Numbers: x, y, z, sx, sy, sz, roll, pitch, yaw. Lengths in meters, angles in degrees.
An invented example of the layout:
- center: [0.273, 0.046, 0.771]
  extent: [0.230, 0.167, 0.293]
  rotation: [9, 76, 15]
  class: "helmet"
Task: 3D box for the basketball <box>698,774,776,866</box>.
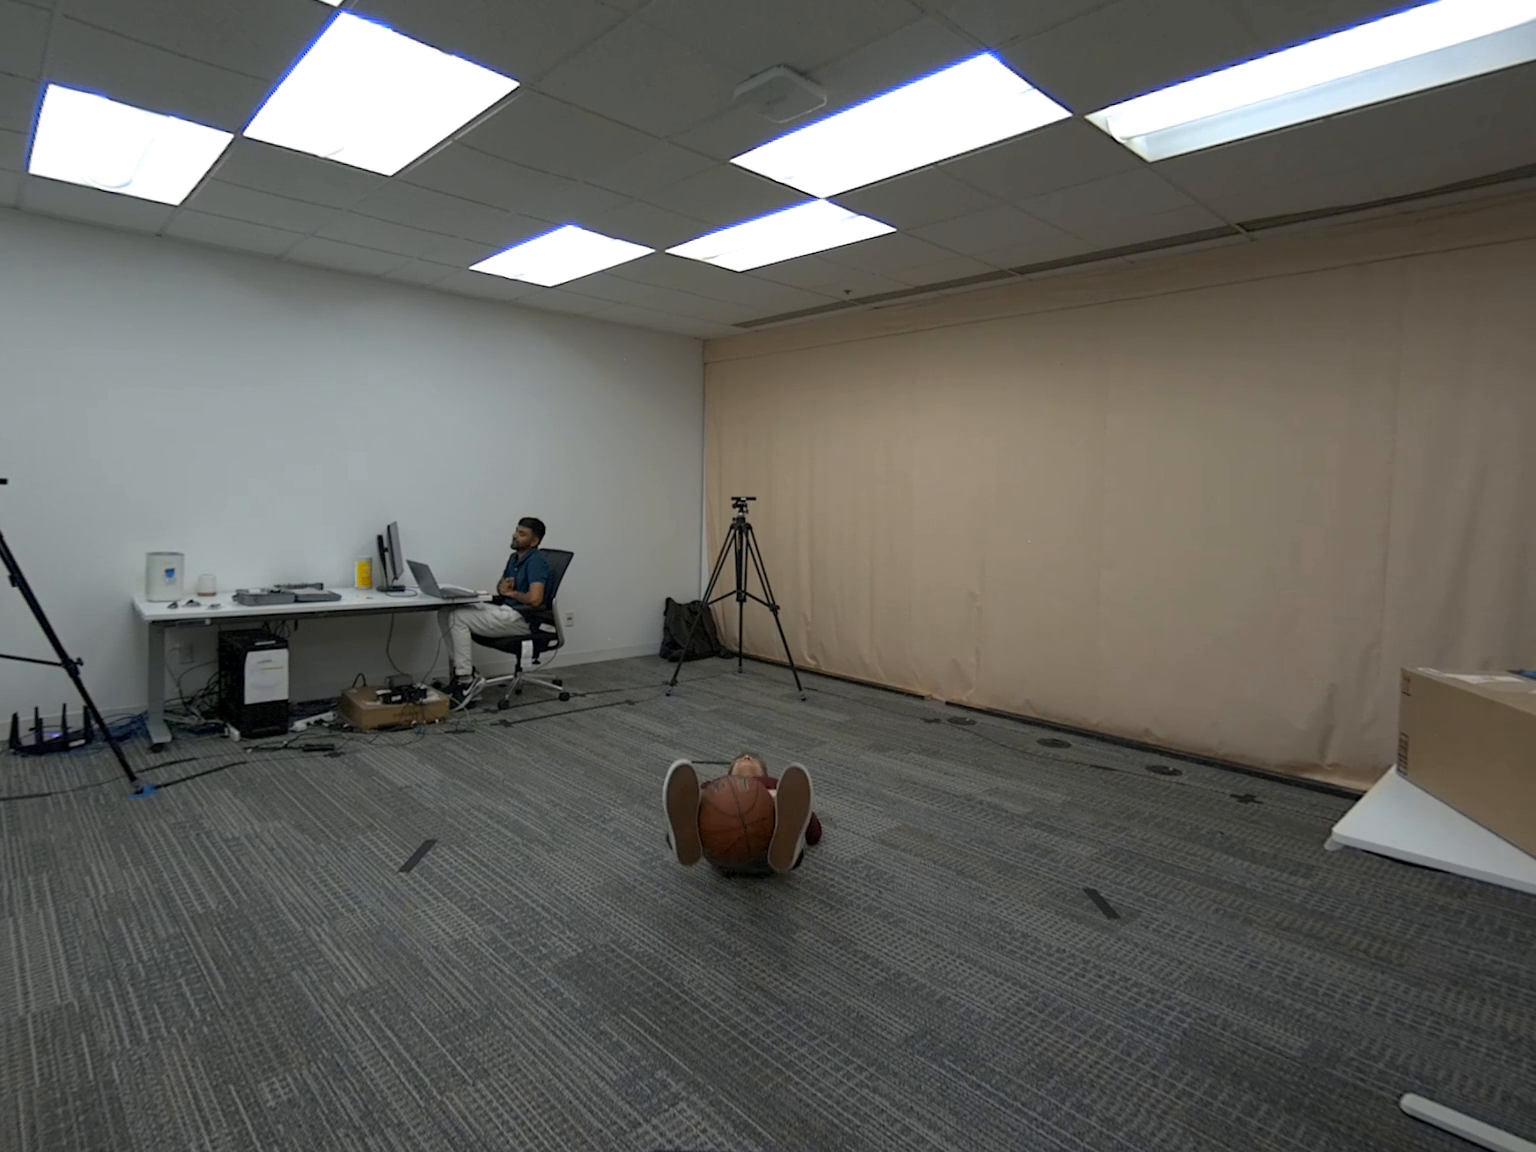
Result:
- center: [-0.098, 0.694, 2.418]
  extent: [0.236, 0.234, 0.237]
  rotation: [0, 7, -1]
  class: "basketball"
